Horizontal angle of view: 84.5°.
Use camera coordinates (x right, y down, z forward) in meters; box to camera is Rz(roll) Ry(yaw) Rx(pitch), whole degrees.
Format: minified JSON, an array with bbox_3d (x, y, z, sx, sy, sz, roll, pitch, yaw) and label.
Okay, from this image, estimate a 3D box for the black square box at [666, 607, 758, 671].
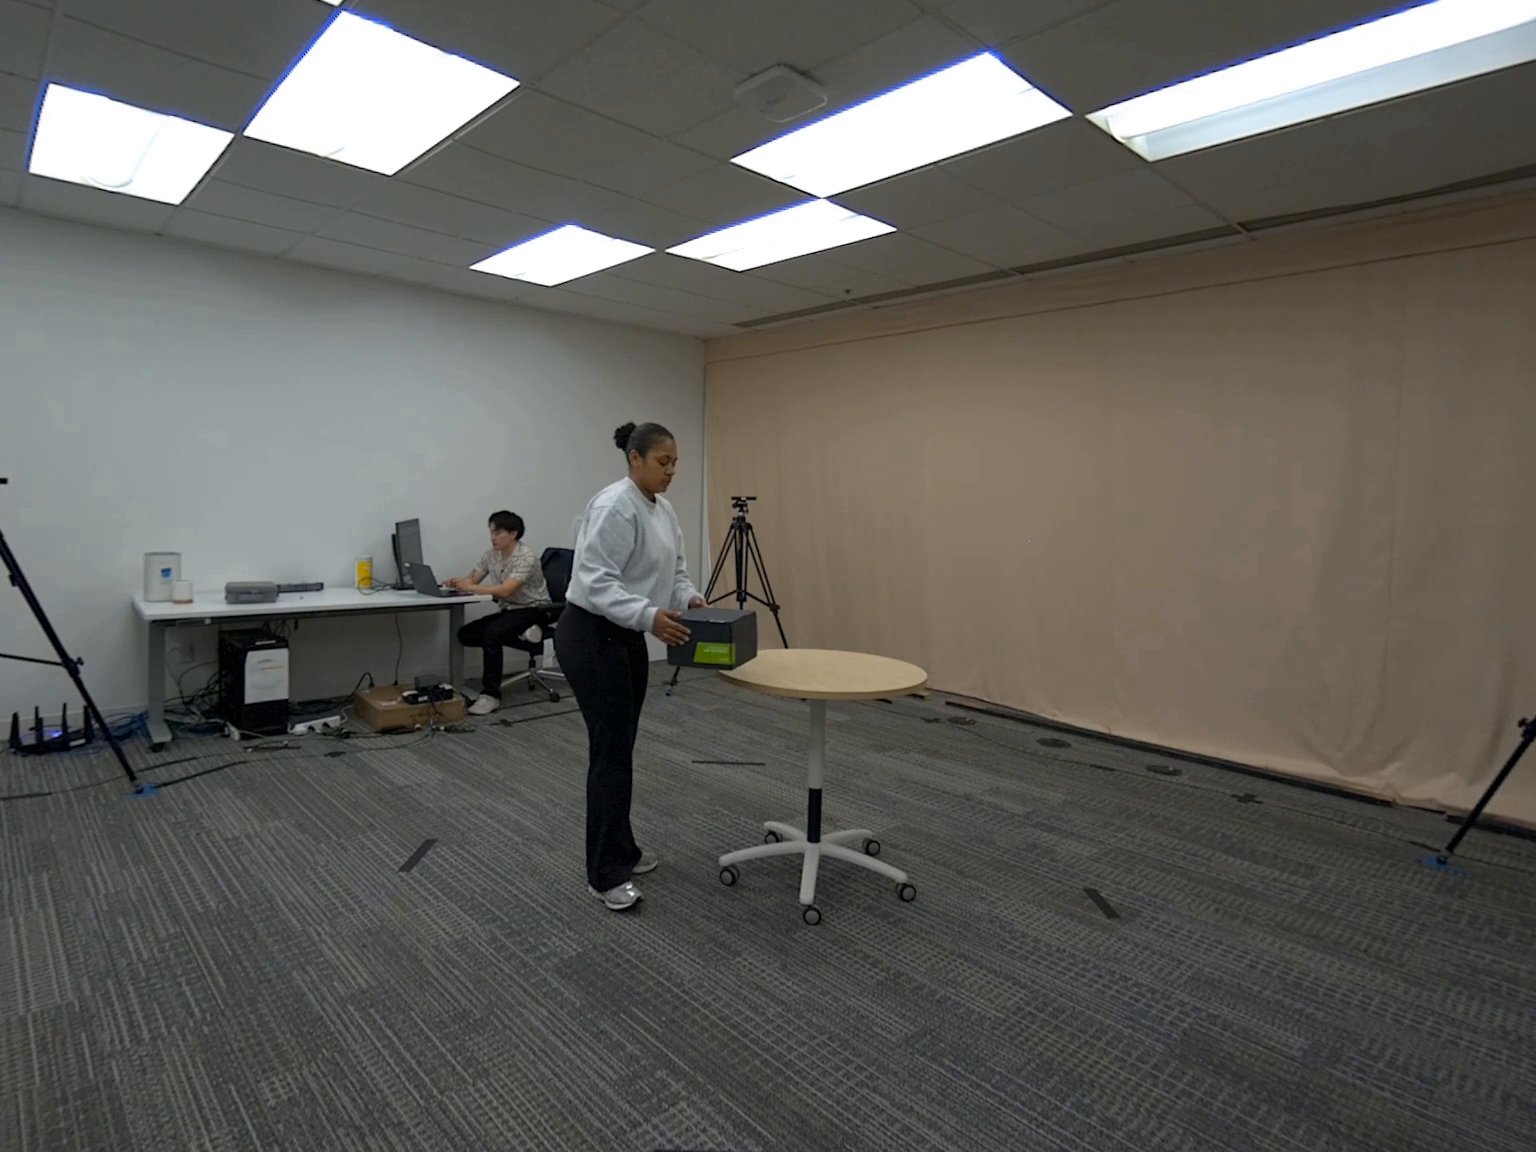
[{"bbox_3d":[-0.184,0.206,2.743,0.232,0.155,0.214,2,6,21],"label":"black square box"}]
